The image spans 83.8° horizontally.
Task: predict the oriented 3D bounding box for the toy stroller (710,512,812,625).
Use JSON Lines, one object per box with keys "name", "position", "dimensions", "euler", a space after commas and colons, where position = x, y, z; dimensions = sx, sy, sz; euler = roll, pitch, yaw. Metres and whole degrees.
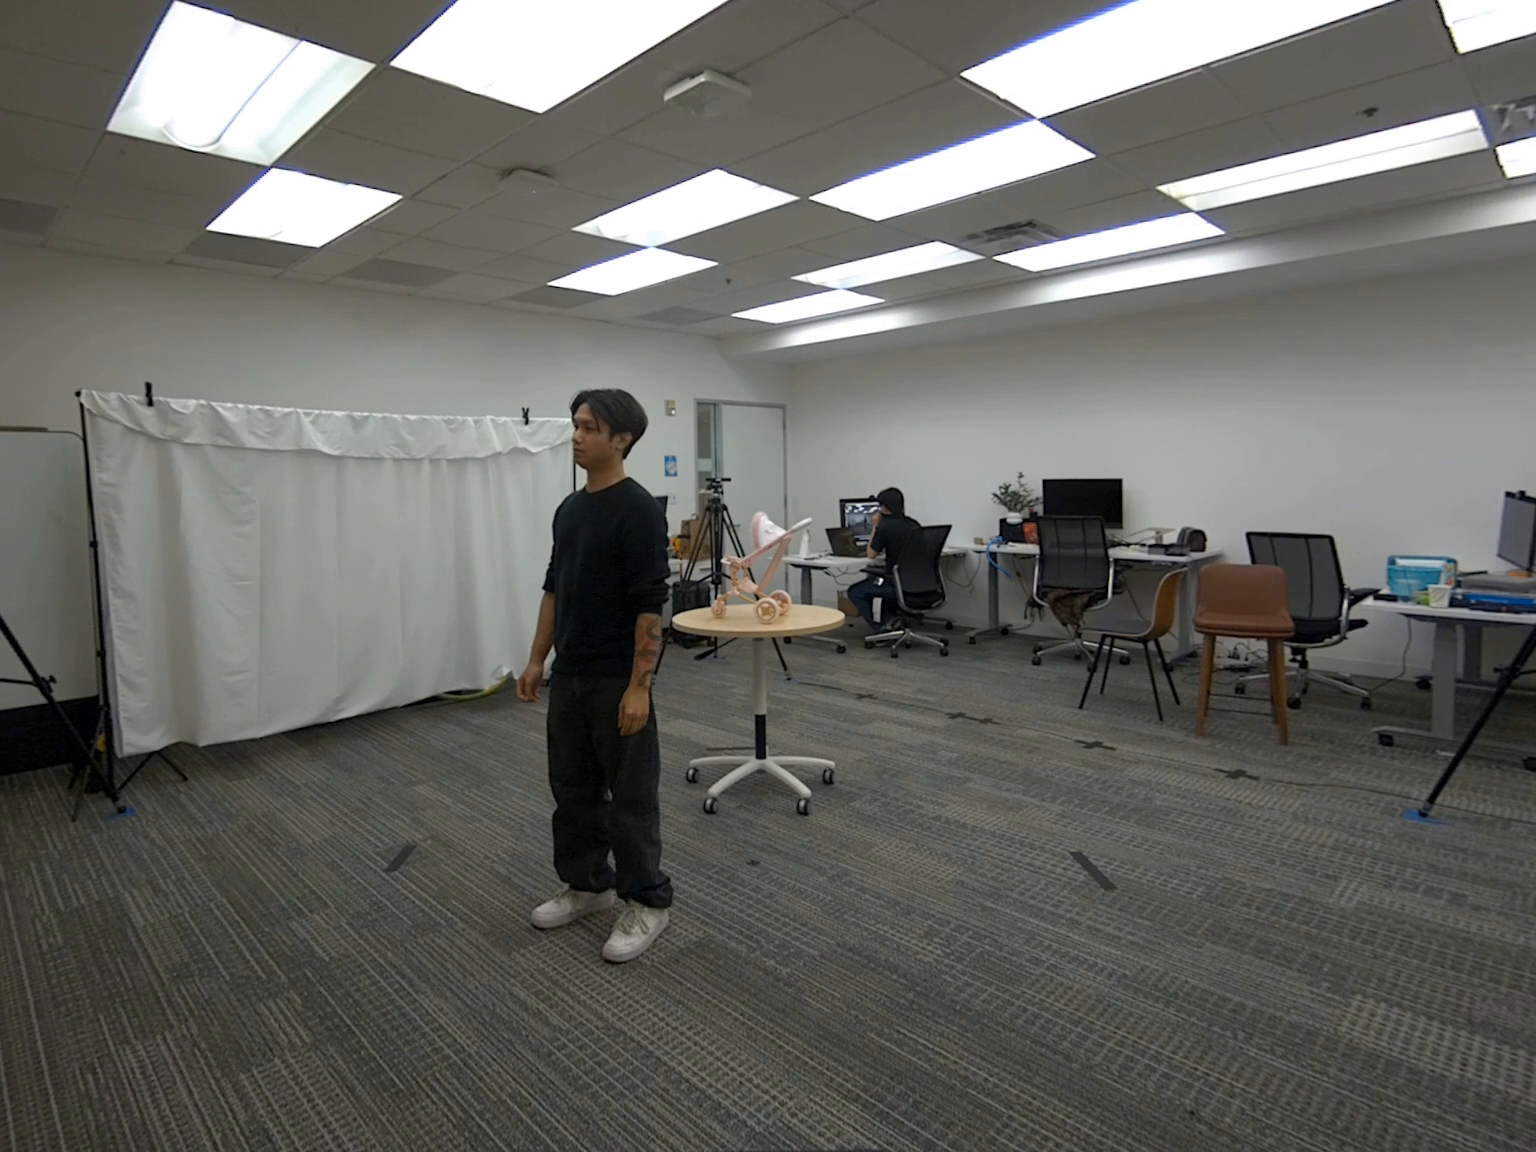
{"name": "toy stroller", "position": [-0.046, -0.037, 3.732], "dimensions": [0.348, 0.531, 0.278], "euler": [17, 10, 16]}
